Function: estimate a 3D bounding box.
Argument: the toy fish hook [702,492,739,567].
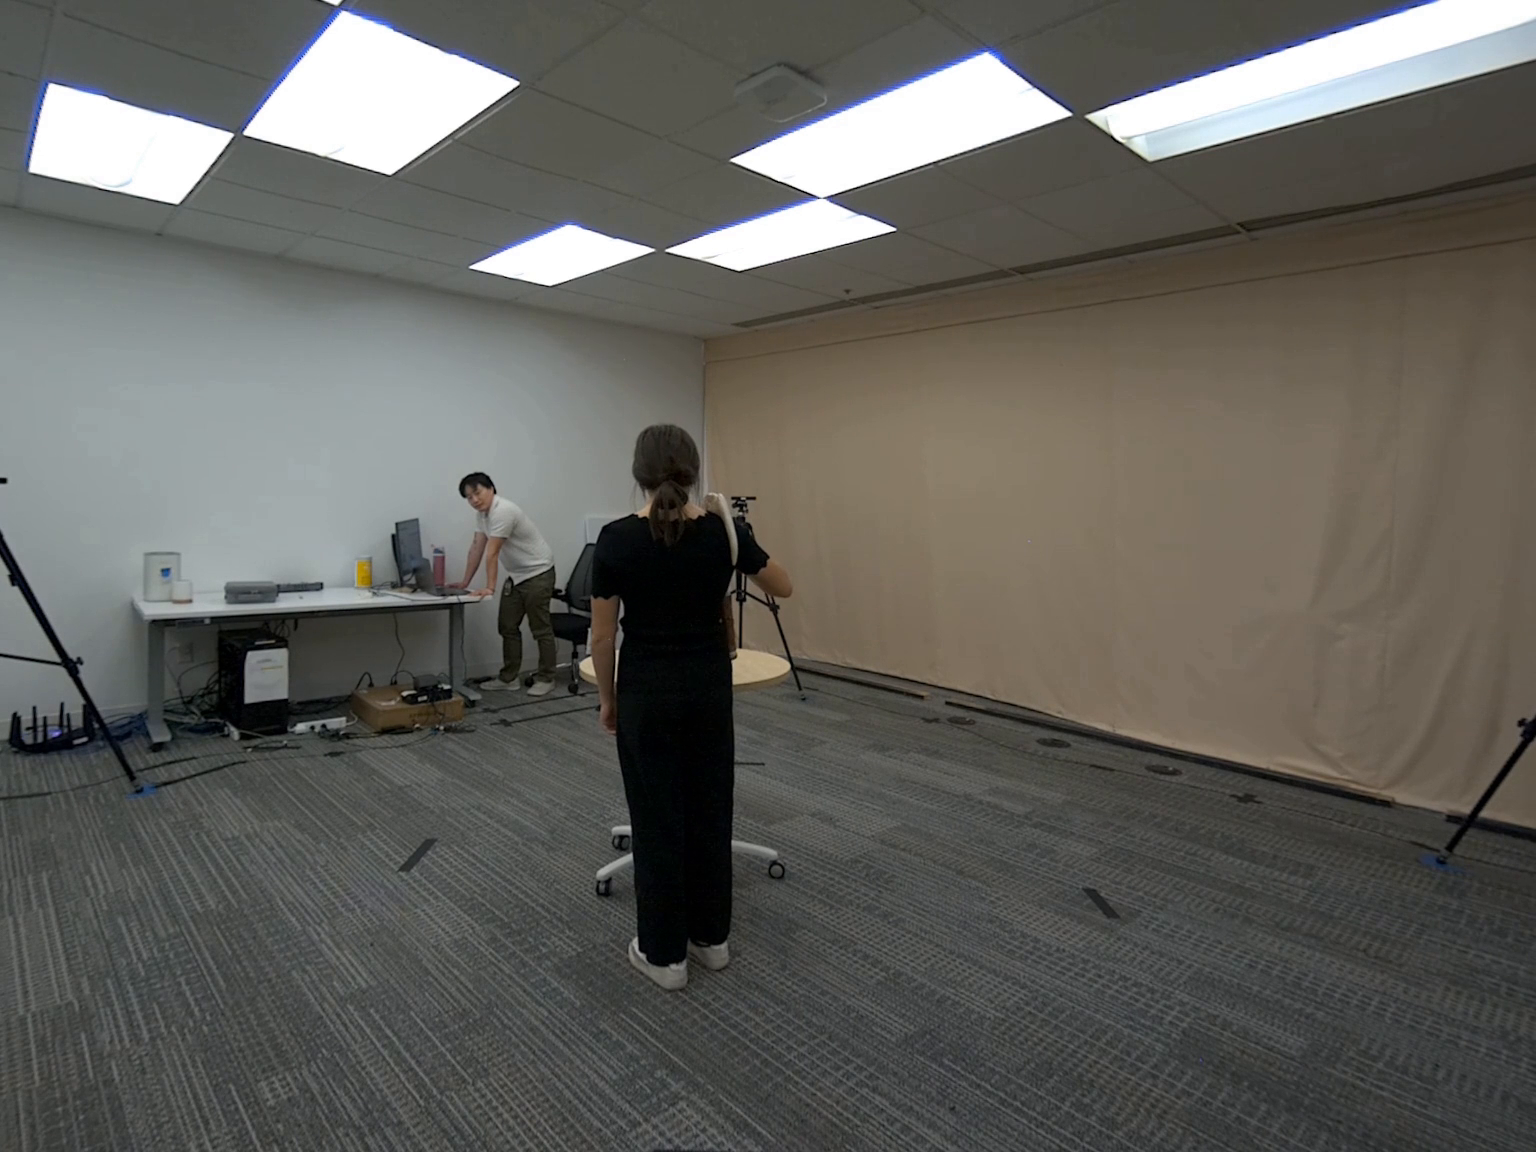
[{"bbox_3d":[-0.123,0.010,2.429,0.048,0.502,0.229,-11,10,-20],"label":"toy fish hook"}]
